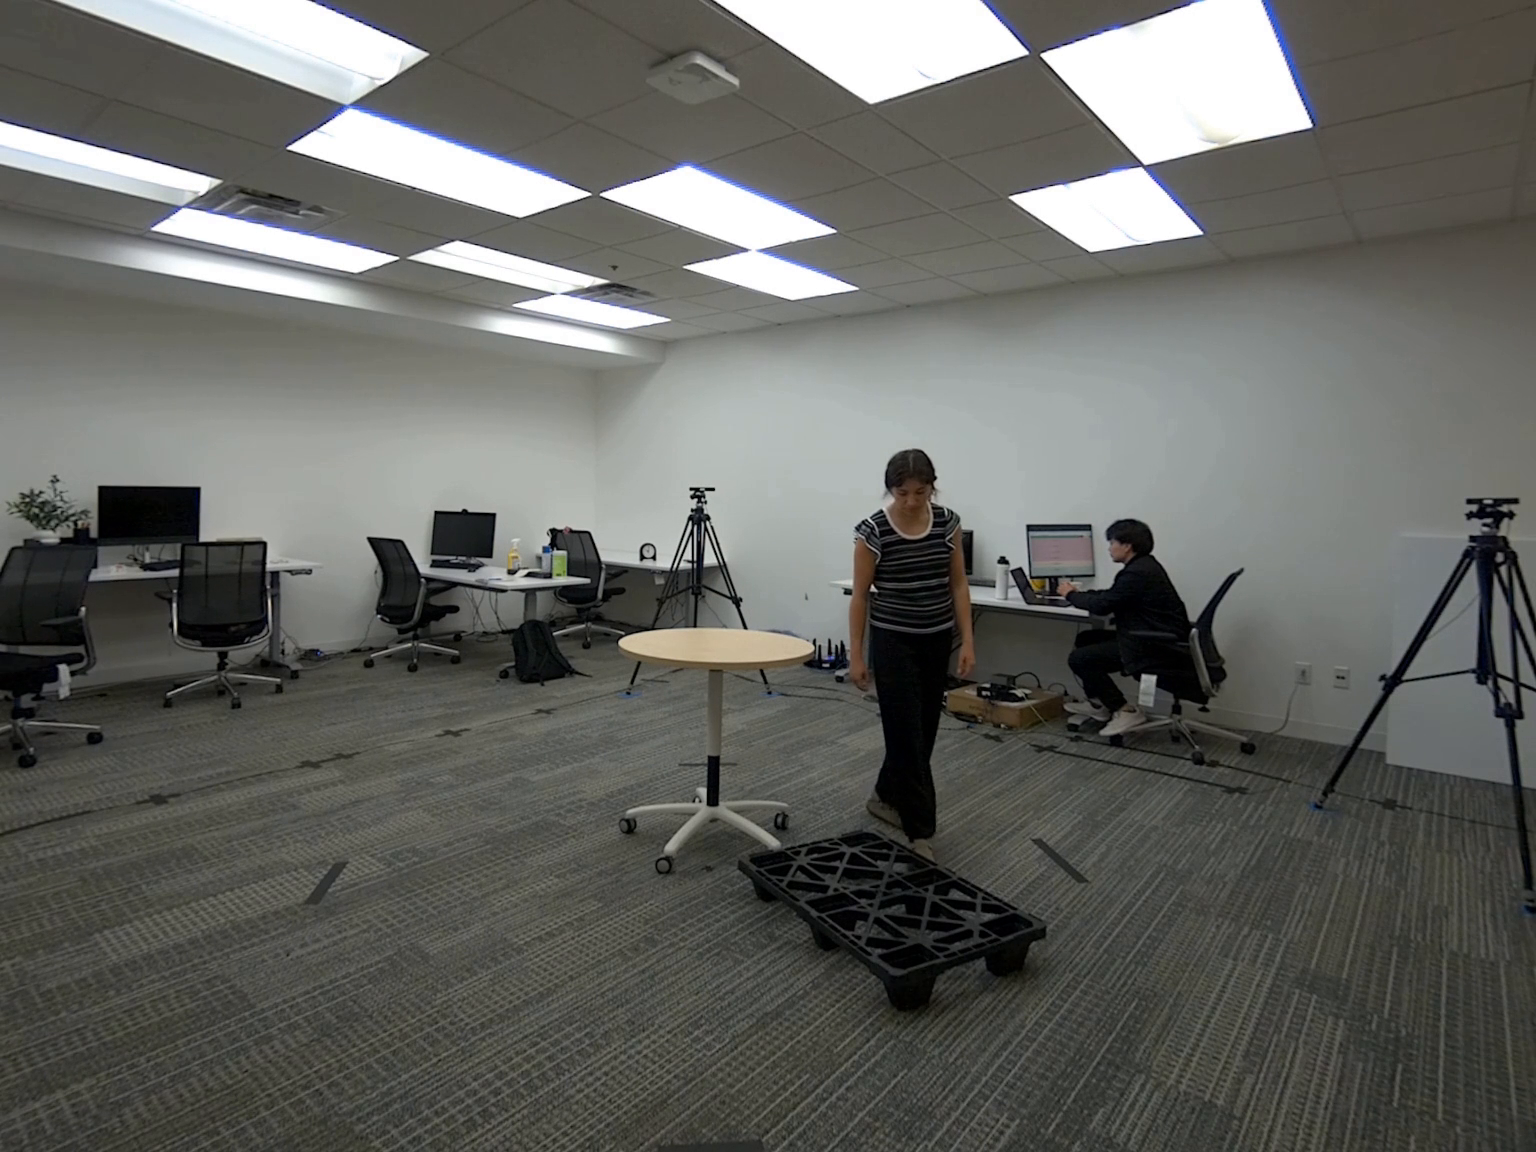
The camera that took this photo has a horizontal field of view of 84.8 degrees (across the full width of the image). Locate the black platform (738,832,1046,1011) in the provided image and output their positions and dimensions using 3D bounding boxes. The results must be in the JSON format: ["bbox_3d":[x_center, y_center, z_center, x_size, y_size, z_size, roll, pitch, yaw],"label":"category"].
[{"bbox_3d":[0.349,1.054,2.698,0.589,0.143,0.831,-3,7,-31],"label":"black platform"}]
